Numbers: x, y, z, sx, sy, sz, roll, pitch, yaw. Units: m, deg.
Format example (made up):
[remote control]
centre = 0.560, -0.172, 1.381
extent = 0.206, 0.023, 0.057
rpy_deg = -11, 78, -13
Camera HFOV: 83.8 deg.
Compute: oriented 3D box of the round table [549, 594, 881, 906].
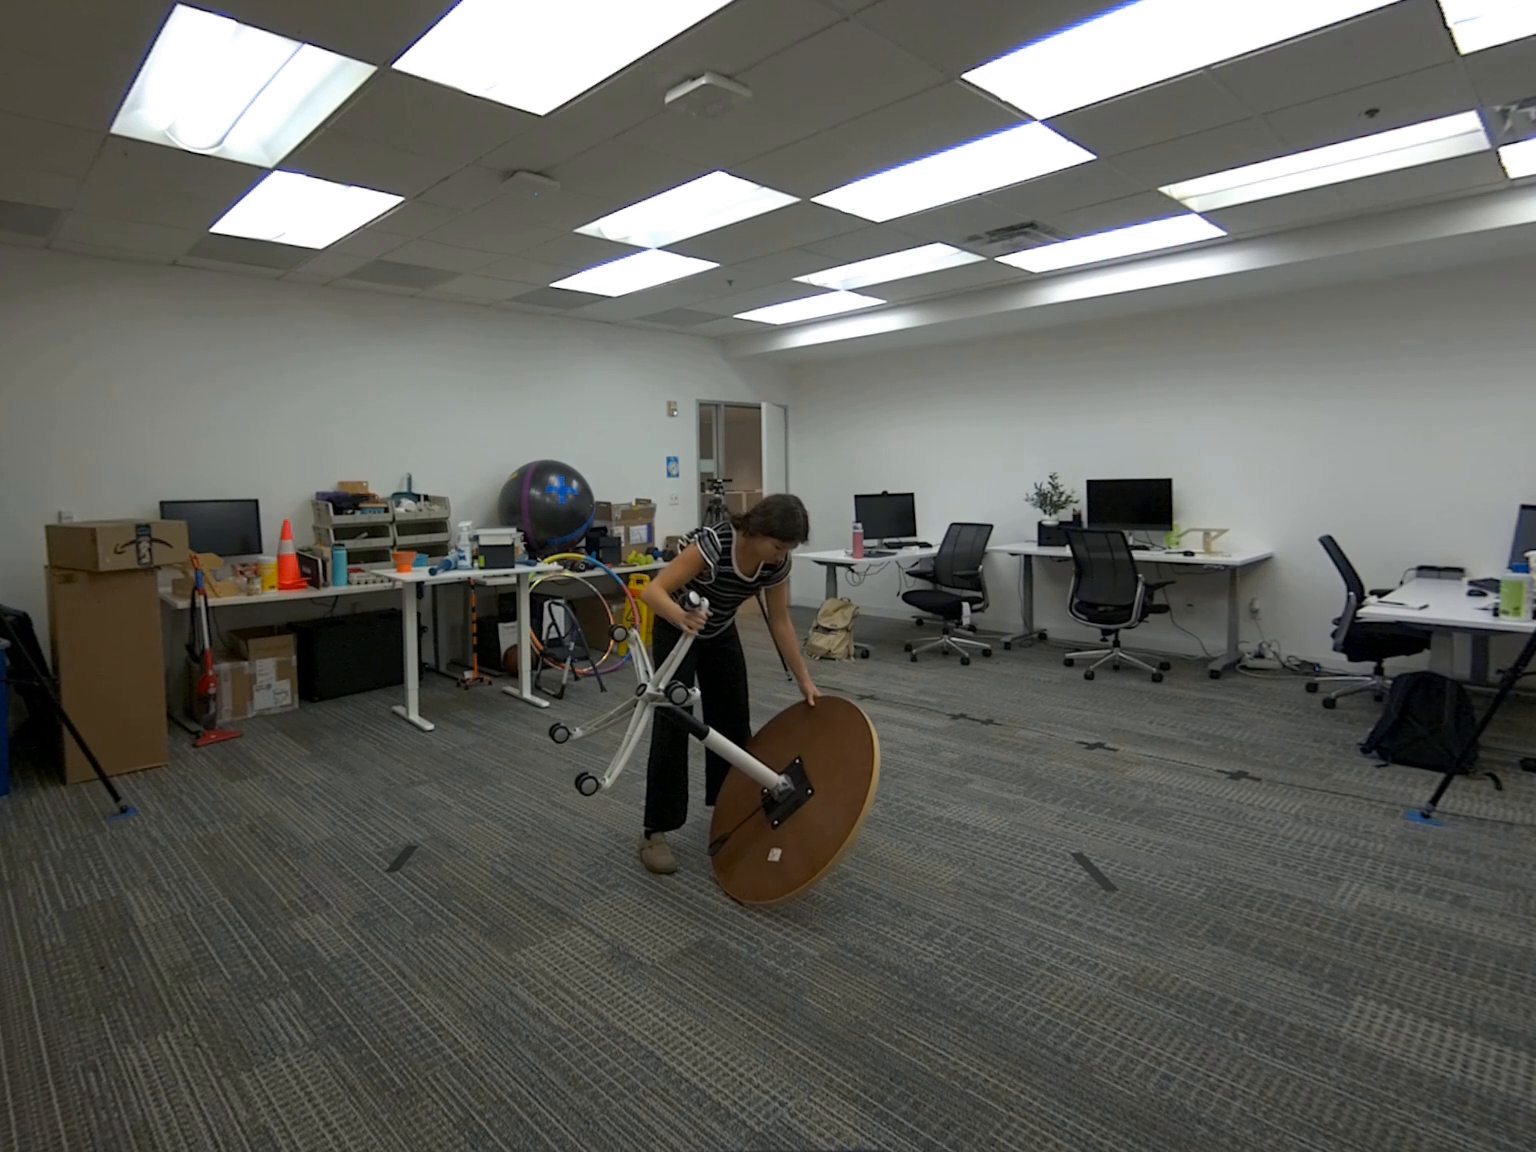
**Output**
[round table]
centre = -0.178, 0.536, 2.809
extent = 0.770, 0.766, 0.785
rpy_deg = 41, -16, -26
